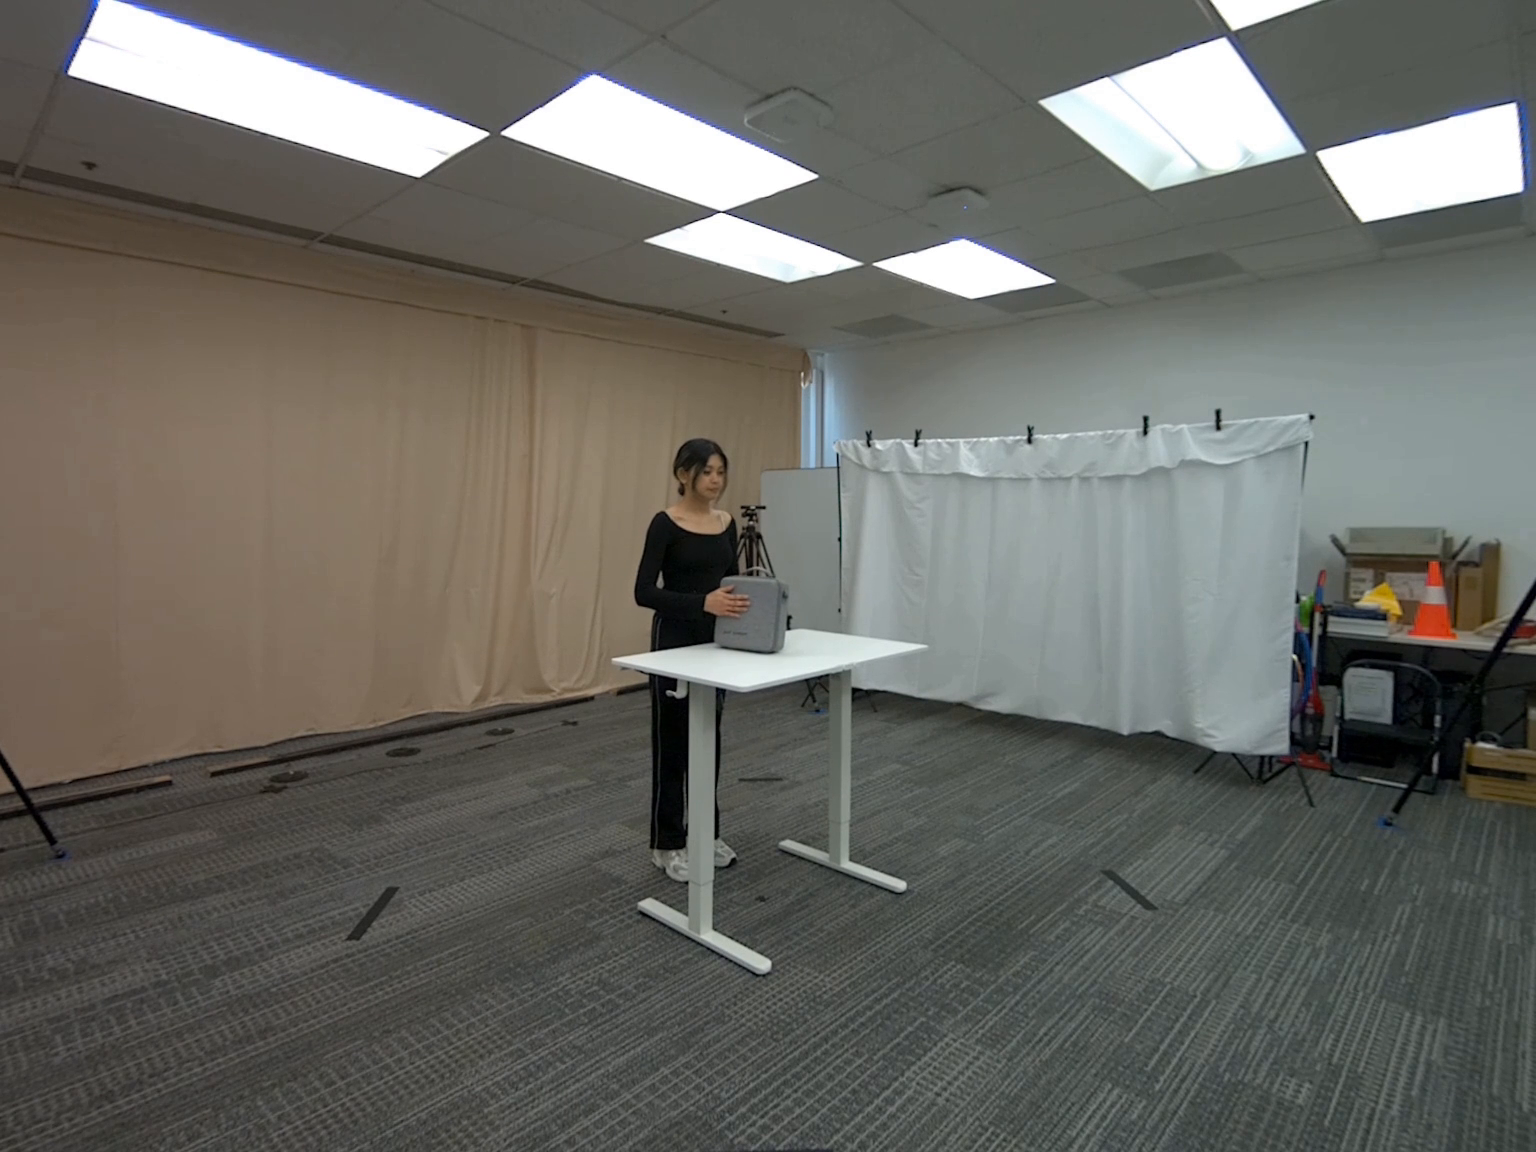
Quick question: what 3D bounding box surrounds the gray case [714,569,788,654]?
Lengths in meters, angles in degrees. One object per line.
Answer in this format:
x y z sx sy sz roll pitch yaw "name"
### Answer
-0.057 0.132 2.971 0.265 0.261 0.101 3 -5 37 "gray case"
